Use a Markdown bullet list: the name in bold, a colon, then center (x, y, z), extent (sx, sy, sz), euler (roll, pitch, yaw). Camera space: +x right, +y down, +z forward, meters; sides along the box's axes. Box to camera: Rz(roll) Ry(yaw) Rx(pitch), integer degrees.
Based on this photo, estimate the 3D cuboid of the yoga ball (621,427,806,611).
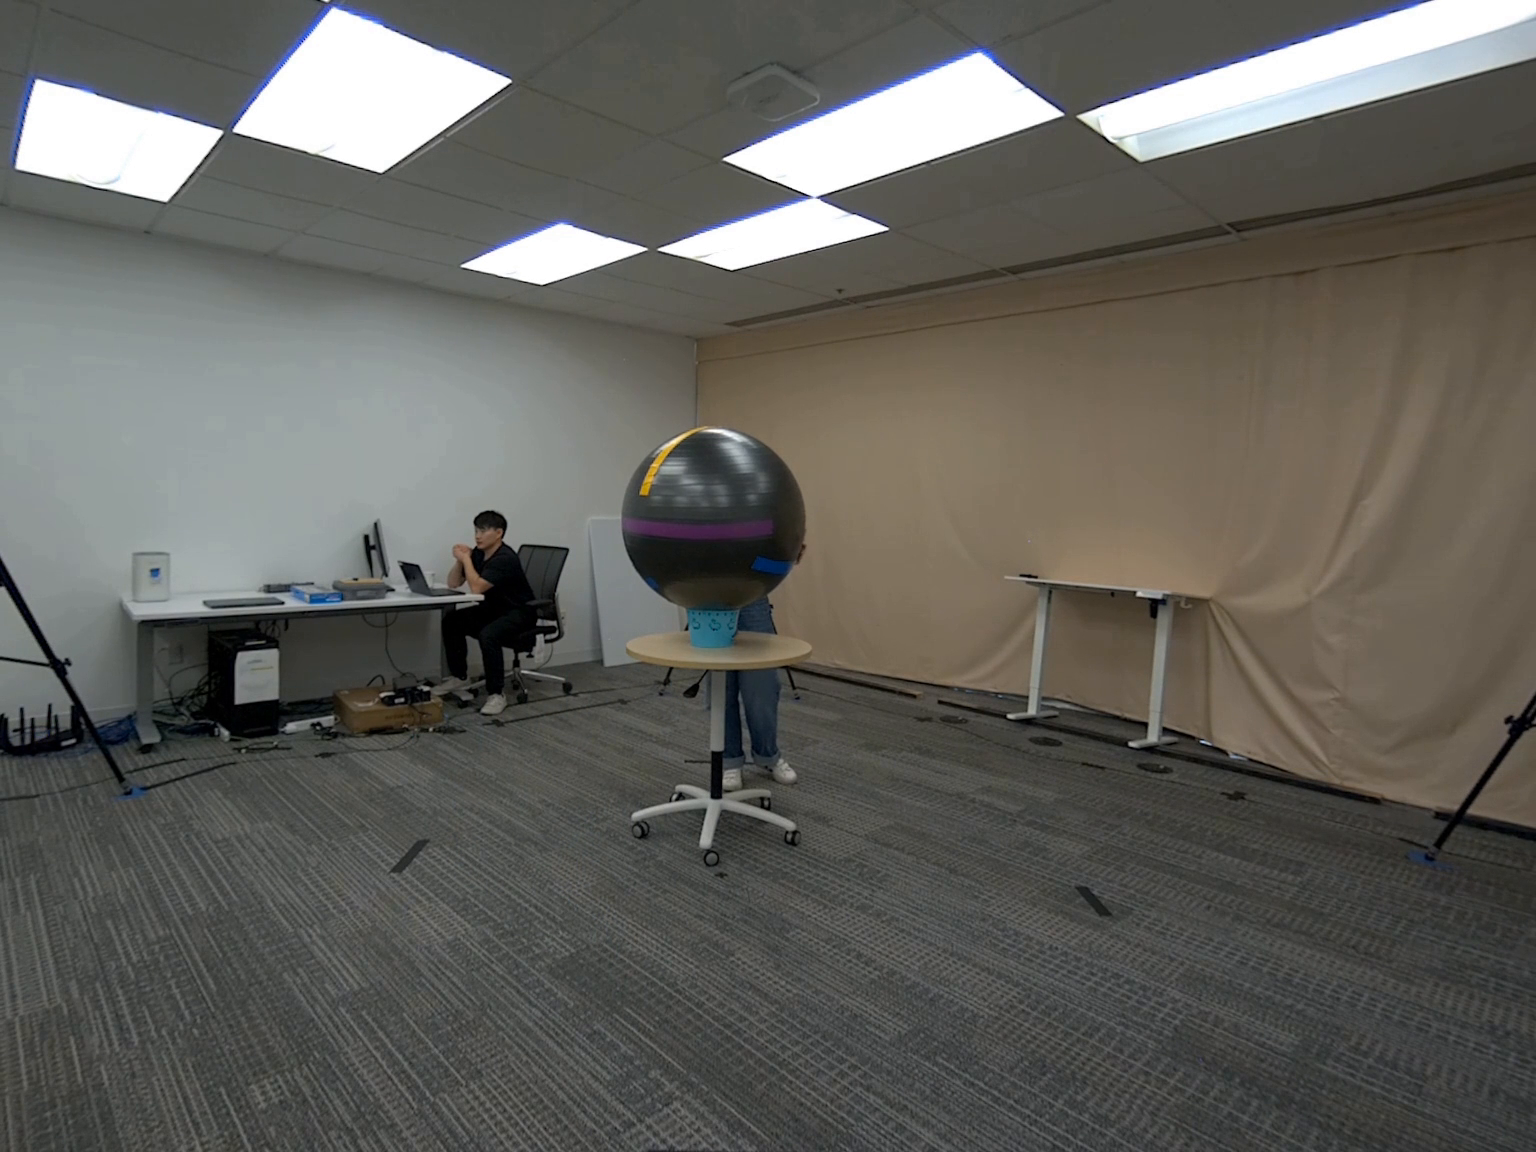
- **yoga ball**: center (-0.231, -0.229, 3.485), extent (0.757, 0.756, 0.761), euler (1, 4, -1)
